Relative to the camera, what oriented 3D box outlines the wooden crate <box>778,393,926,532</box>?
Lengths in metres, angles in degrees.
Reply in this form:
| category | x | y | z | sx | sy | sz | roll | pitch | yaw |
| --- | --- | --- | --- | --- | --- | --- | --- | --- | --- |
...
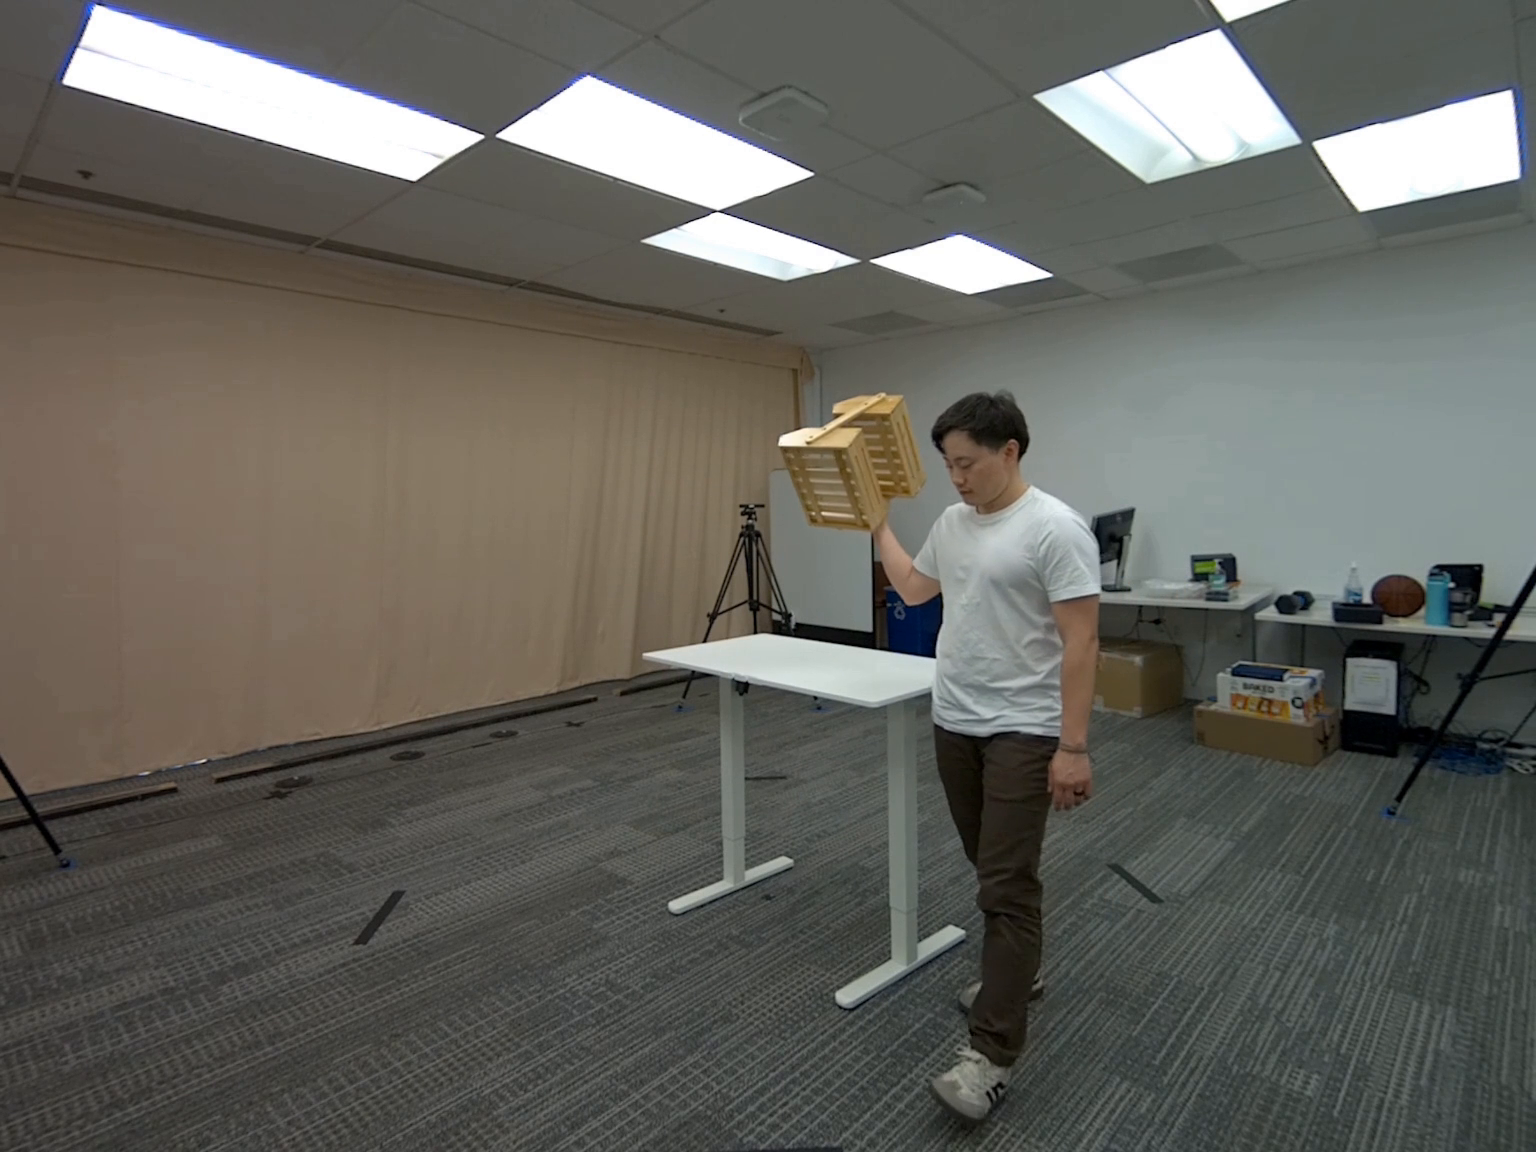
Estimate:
| category | x | y | z | sx | sy | sz | roll | pitch | yaw |
| --- | --- | --- | --- | --- | --- | --- | --- | --- | --- |
| wooden crate | 0.259 | -0.339 | 2.497 | 0.312 | 0.315 | 0.272 | 8 | 45 | 38 |
